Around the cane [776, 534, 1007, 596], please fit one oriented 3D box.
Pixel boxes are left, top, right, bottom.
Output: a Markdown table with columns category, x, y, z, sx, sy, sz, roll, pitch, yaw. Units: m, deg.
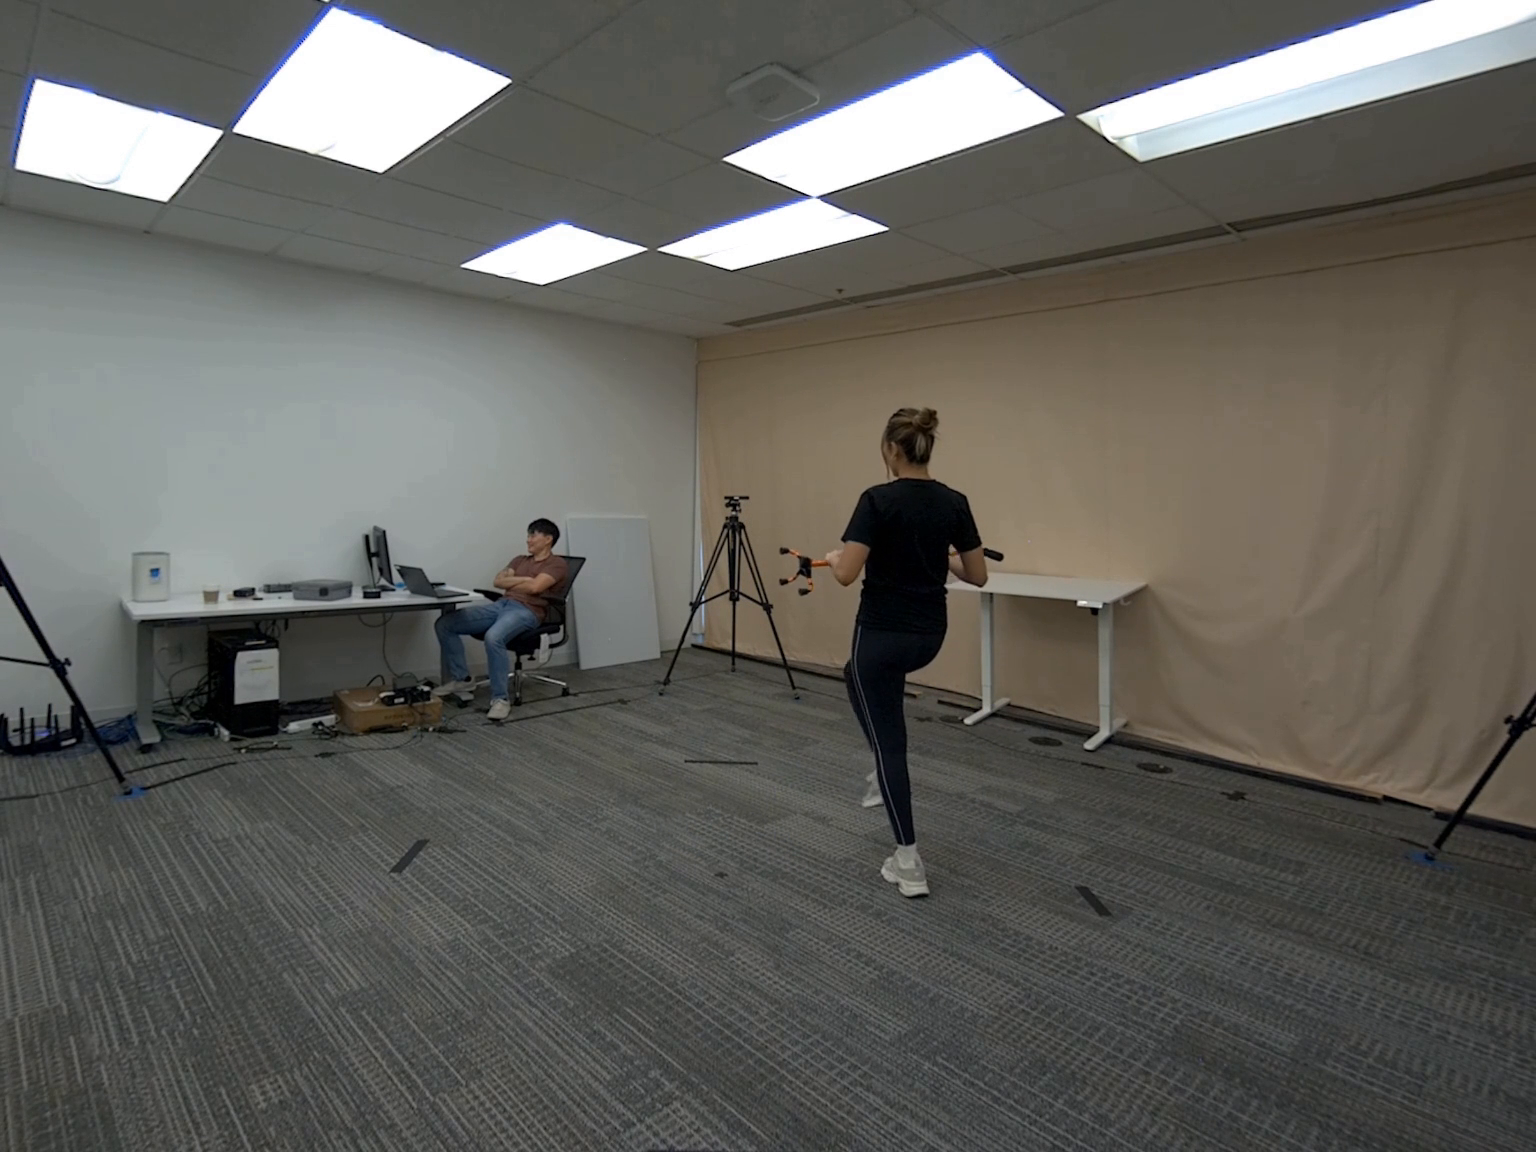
| category | x | y | z | sx | sy | sz | roll | pitch | yaw |
| --- | --- | --- | --- | --- | --- | --- | --- | --- | --- |
| cane | 0.492 | -0.055 | 3.351 | 0.896 | 0.150 | 0.211 | -4 | 11 | -19 |
